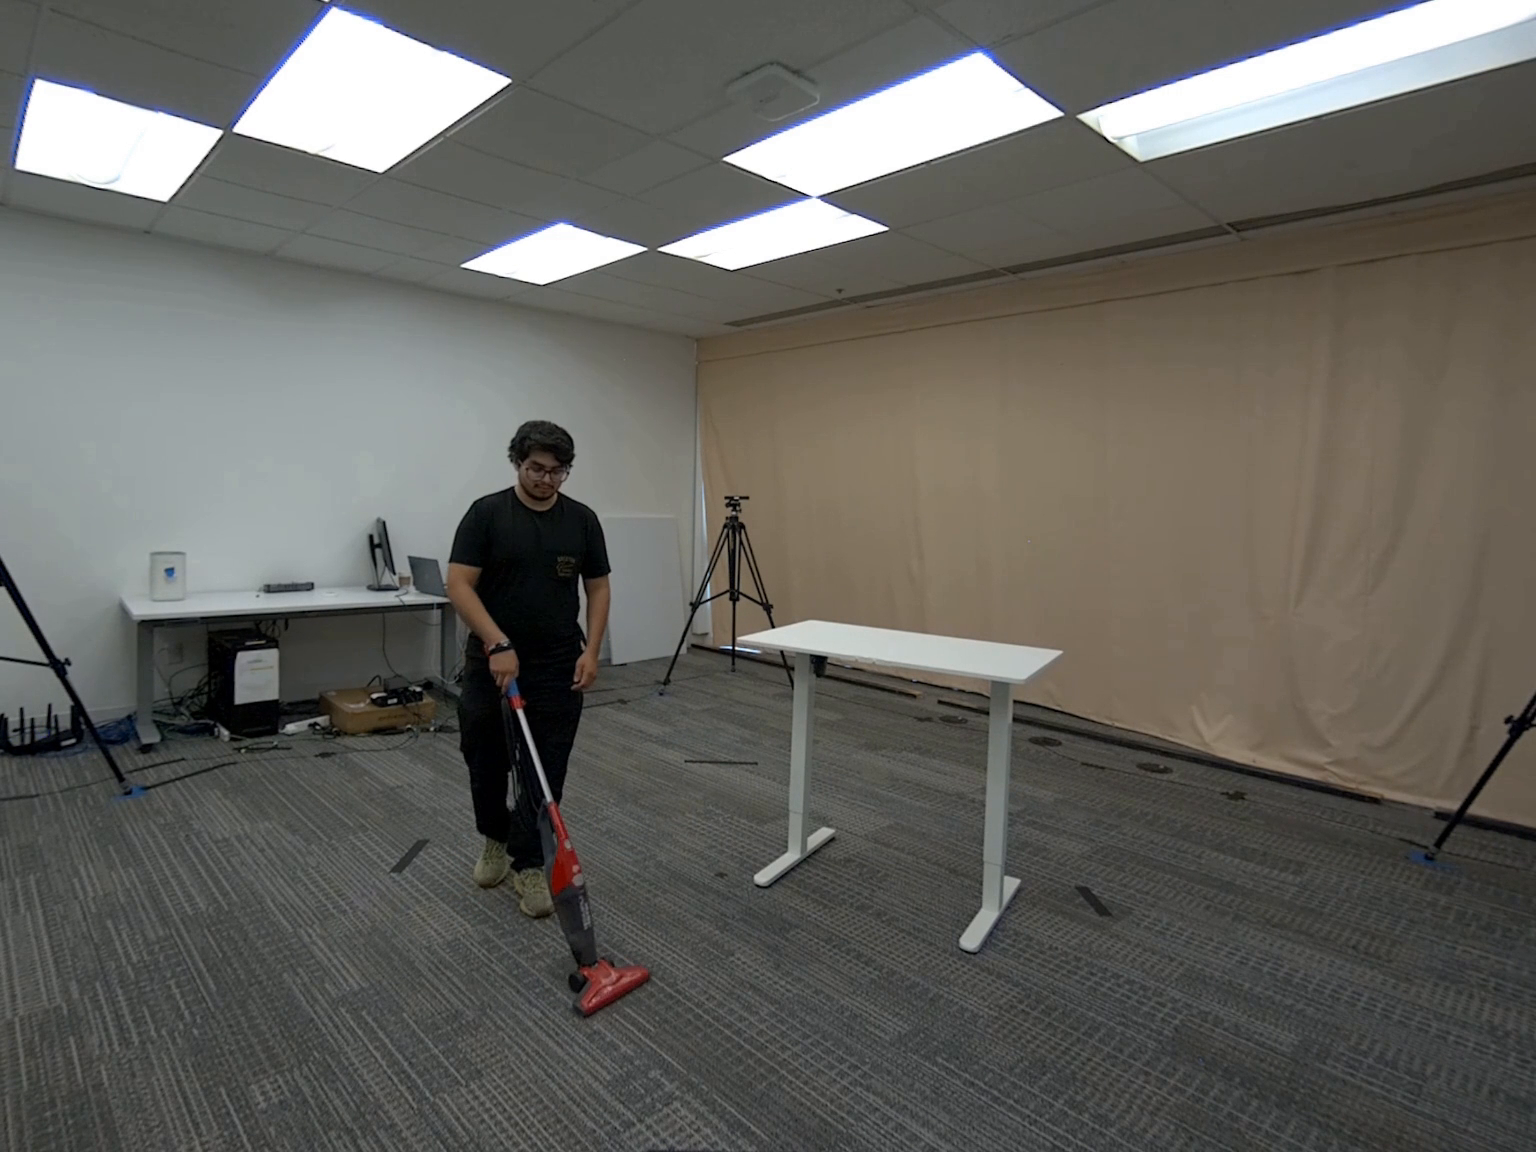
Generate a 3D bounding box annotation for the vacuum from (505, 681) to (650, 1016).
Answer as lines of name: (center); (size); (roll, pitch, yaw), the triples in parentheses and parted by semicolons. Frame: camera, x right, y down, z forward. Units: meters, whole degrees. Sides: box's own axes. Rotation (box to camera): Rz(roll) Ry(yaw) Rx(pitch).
vacuum: (-0.679, 0.703, 2.519); (0.145, 1.067, 0.247); (-37, -20, 35)
